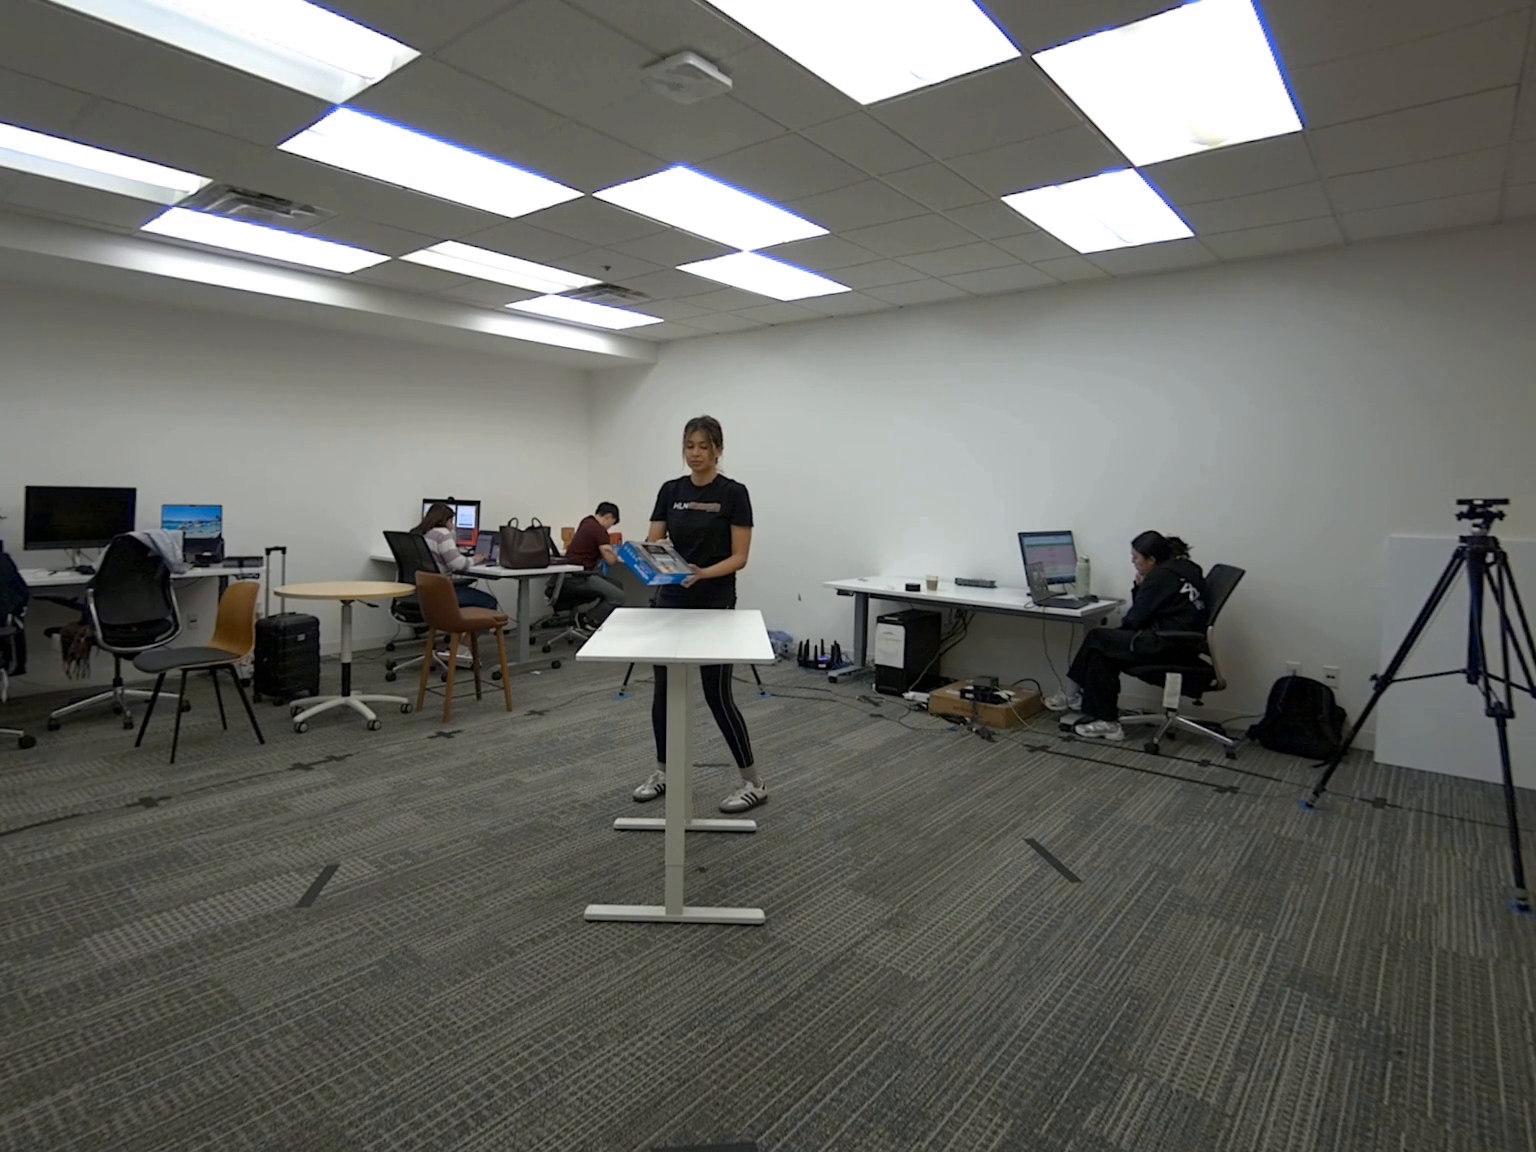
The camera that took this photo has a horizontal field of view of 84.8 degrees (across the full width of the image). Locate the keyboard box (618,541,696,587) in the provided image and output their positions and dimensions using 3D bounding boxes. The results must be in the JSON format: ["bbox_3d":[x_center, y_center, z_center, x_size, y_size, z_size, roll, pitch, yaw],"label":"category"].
[{"bbox_3d":[-0.433,-0.054,3.278,0.179,0.059,0.429,45,10,10],"label":"keyboard box"}]
